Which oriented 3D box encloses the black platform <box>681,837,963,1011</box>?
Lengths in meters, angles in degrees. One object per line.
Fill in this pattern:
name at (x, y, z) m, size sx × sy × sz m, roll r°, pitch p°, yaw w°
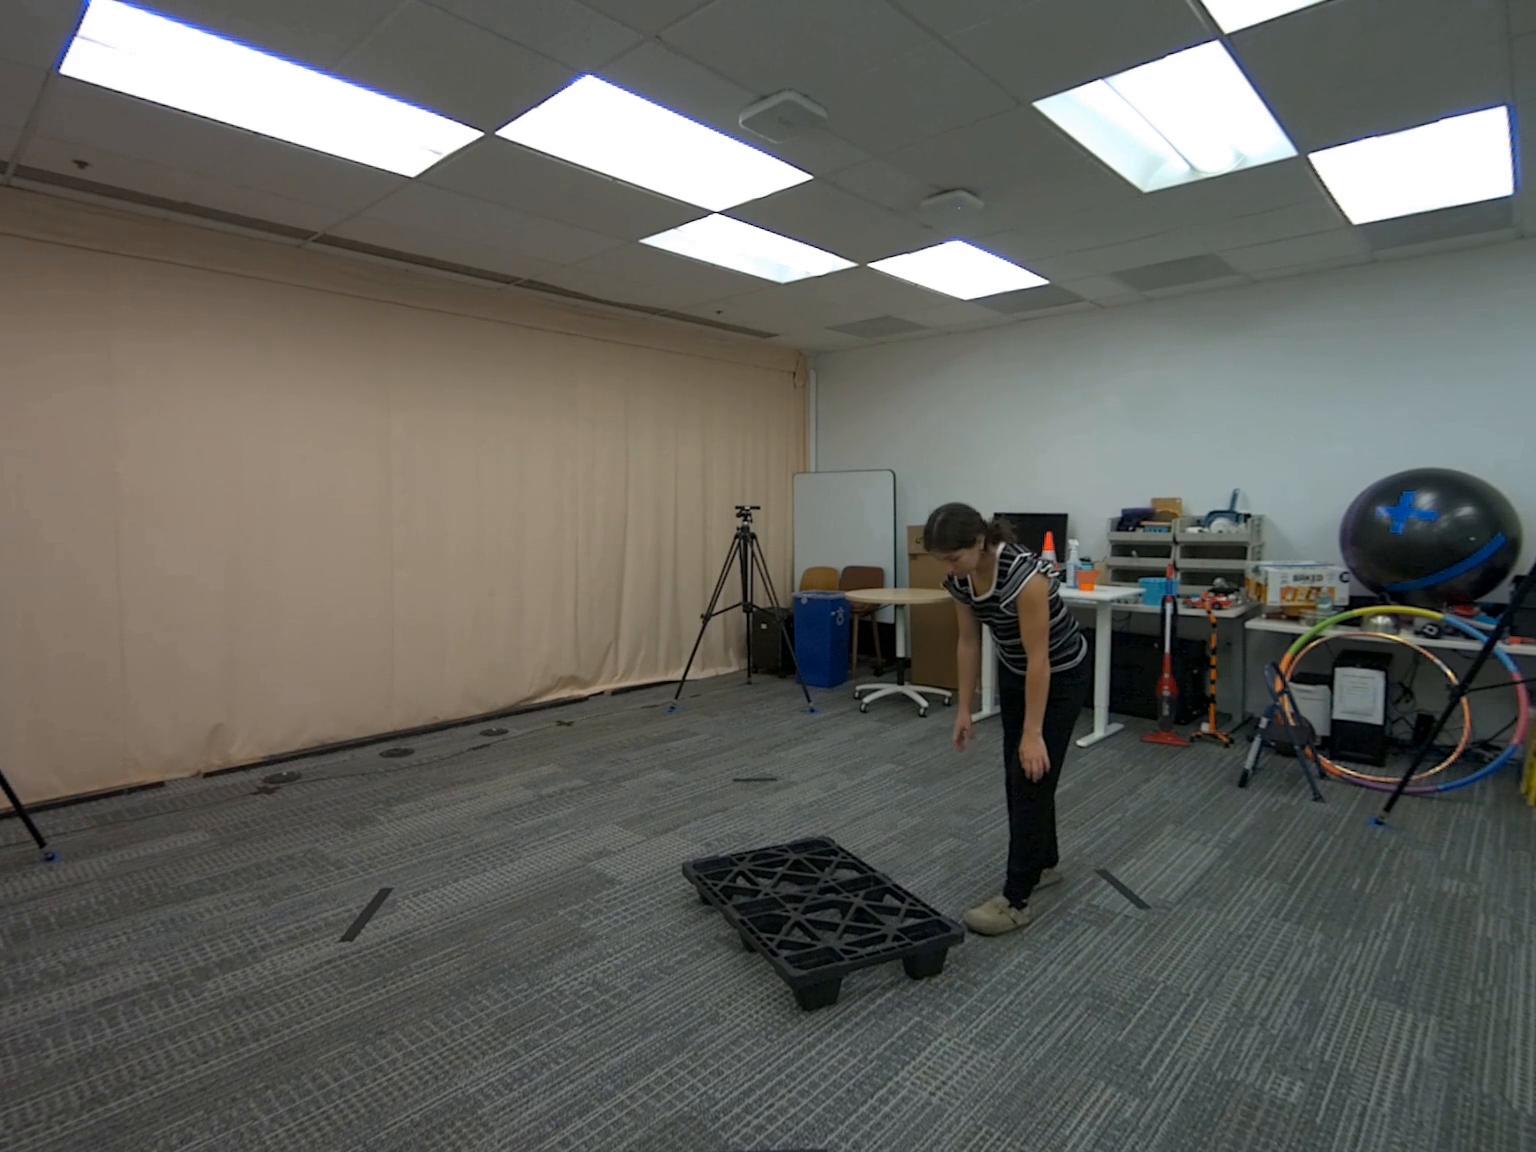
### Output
black platform at (0.144, 1.098, 2.733) m, size 0.591 × 0.143 × 0.827 m, roll -3°, pitch 5°, yaw -26°
